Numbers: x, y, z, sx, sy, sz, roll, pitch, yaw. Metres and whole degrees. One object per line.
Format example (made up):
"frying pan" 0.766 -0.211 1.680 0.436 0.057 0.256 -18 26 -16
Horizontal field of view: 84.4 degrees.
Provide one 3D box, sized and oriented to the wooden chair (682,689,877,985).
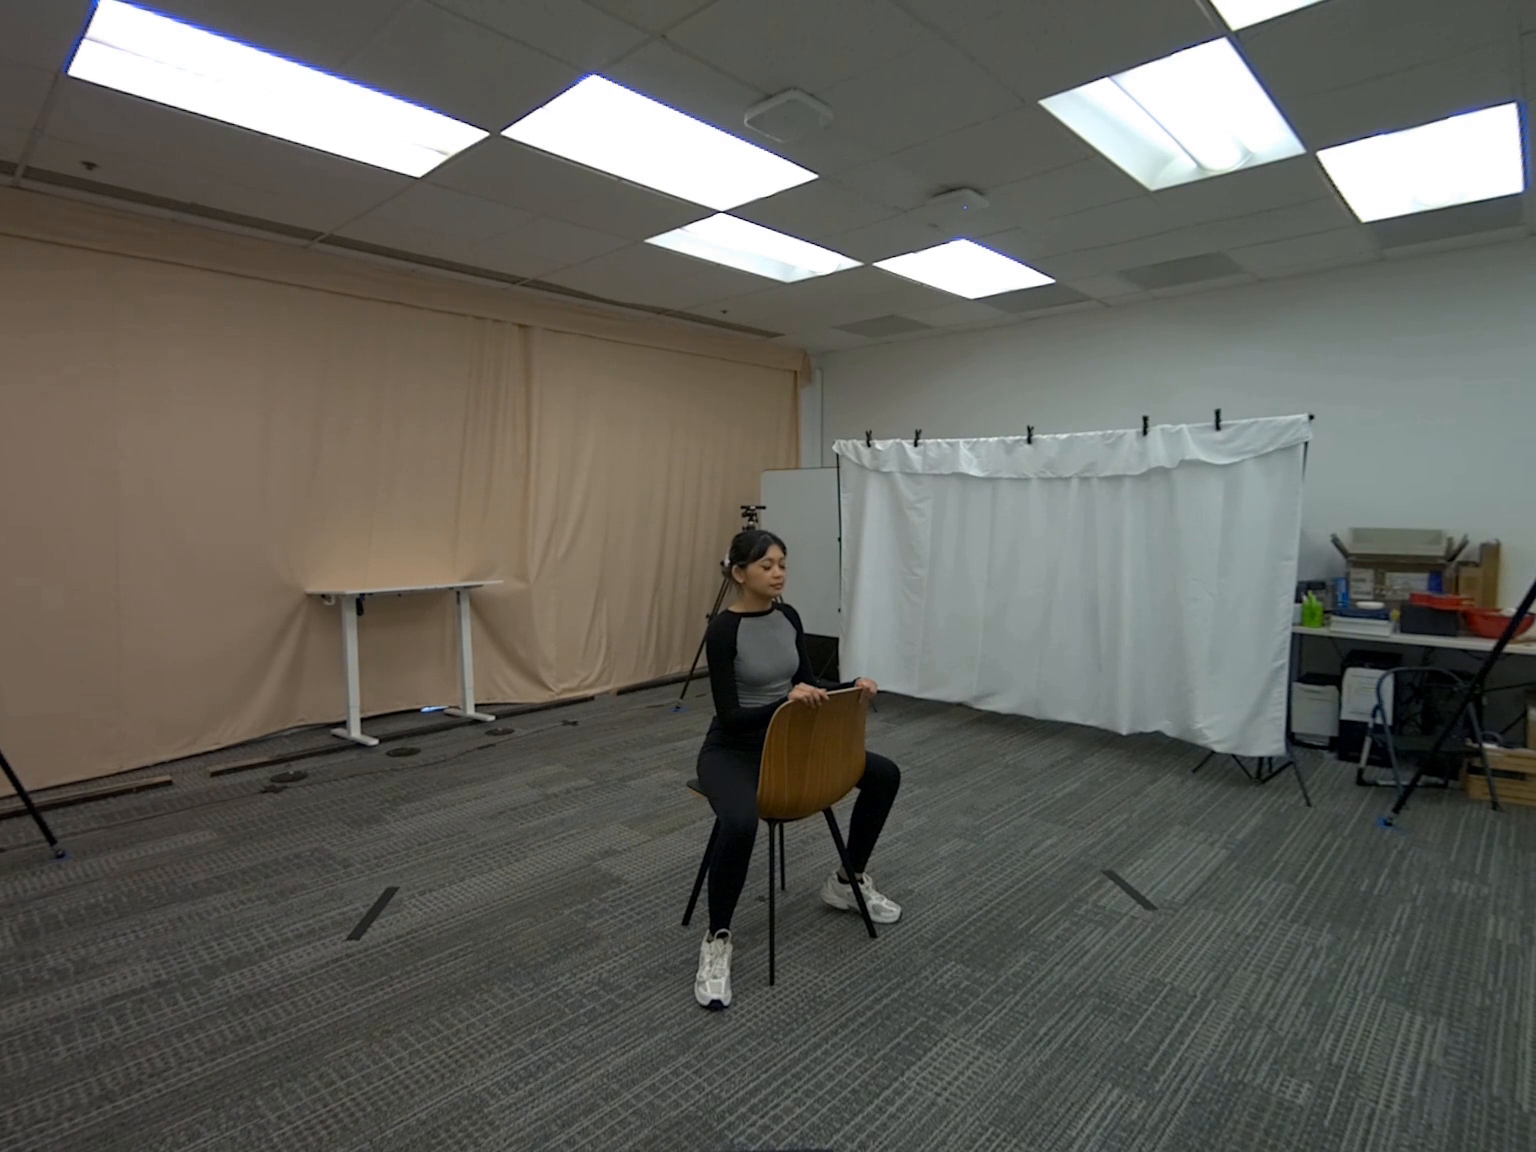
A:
"wooden chair" 0.029 0.739 2.735 0.464 0.874 0.541 -2 9 -39
